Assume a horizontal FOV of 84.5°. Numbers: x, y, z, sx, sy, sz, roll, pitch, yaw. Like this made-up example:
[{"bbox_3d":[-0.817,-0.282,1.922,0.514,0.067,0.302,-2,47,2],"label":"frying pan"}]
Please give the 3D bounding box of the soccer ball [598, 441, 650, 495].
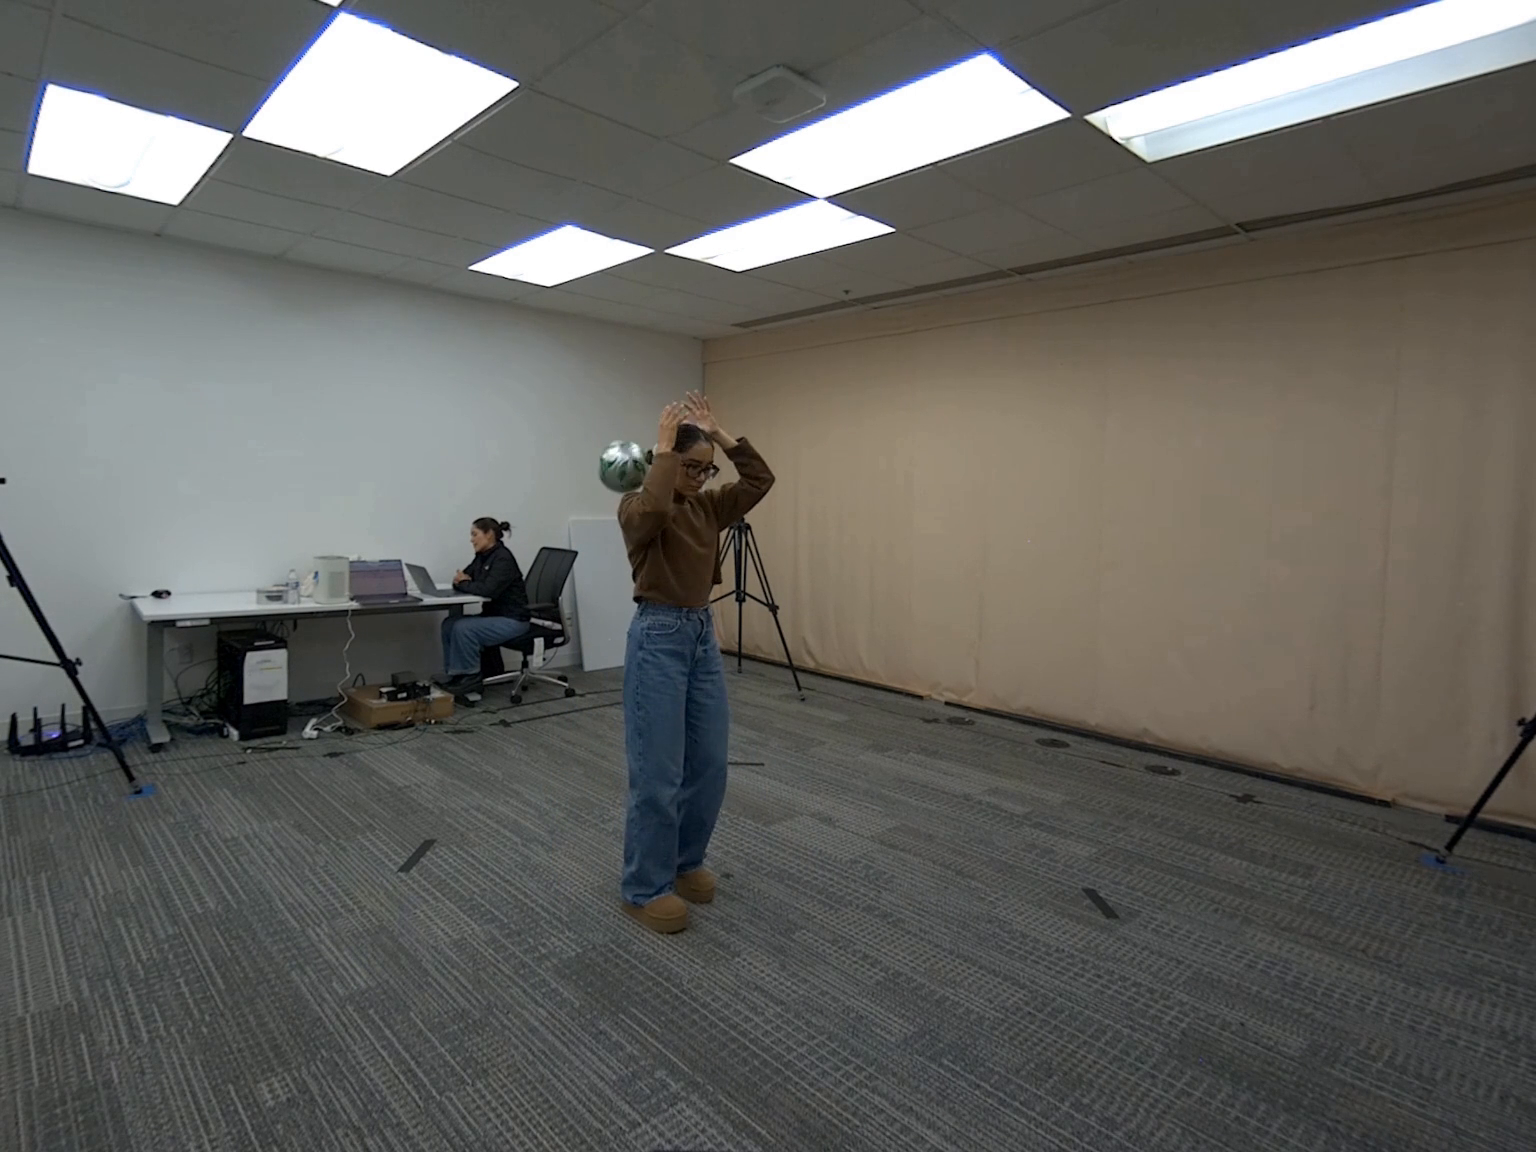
[{"bbox_3d":[-0.522,-0.364,3.023,0.187,0.187,0.188,1,4,-1],"label":"soccer ball"}]
